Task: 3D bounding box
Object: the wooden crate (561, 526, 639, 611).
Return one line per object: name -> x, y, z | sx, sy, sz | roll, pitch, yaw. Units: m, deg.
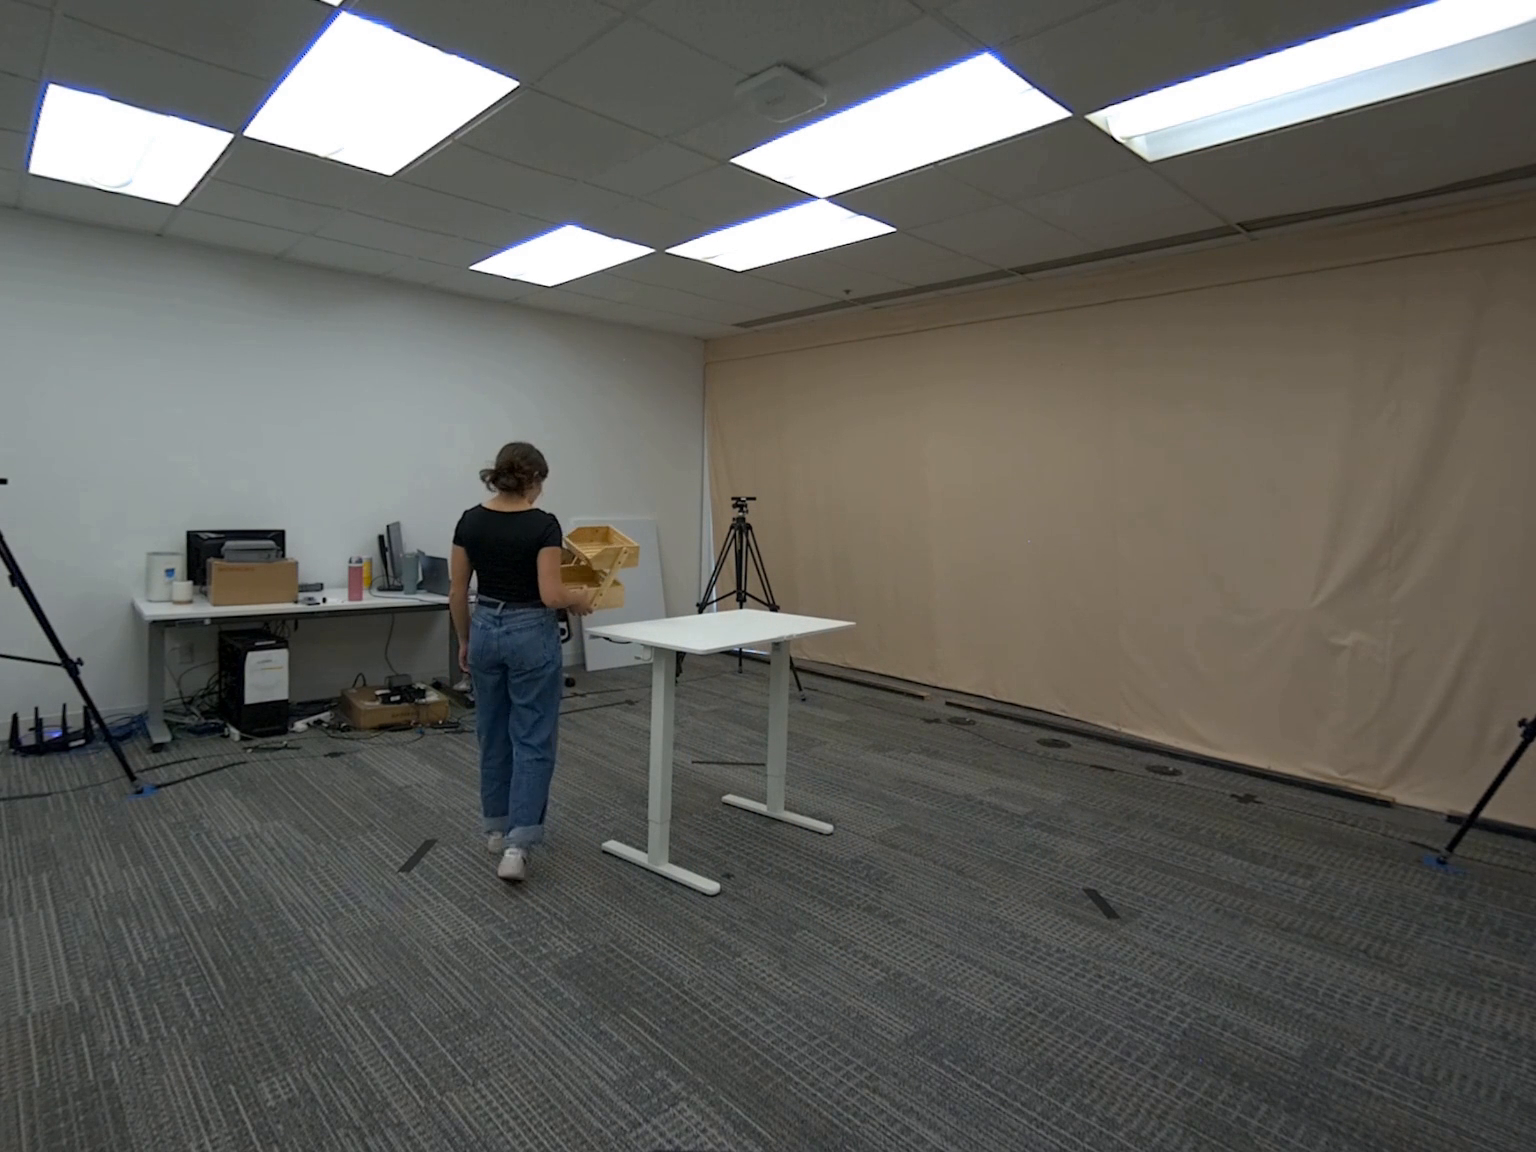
wooden crate -> -0.743, -0.039, 3.438 | 0.296, 0.270, 0.334 | -4, 20, -31
